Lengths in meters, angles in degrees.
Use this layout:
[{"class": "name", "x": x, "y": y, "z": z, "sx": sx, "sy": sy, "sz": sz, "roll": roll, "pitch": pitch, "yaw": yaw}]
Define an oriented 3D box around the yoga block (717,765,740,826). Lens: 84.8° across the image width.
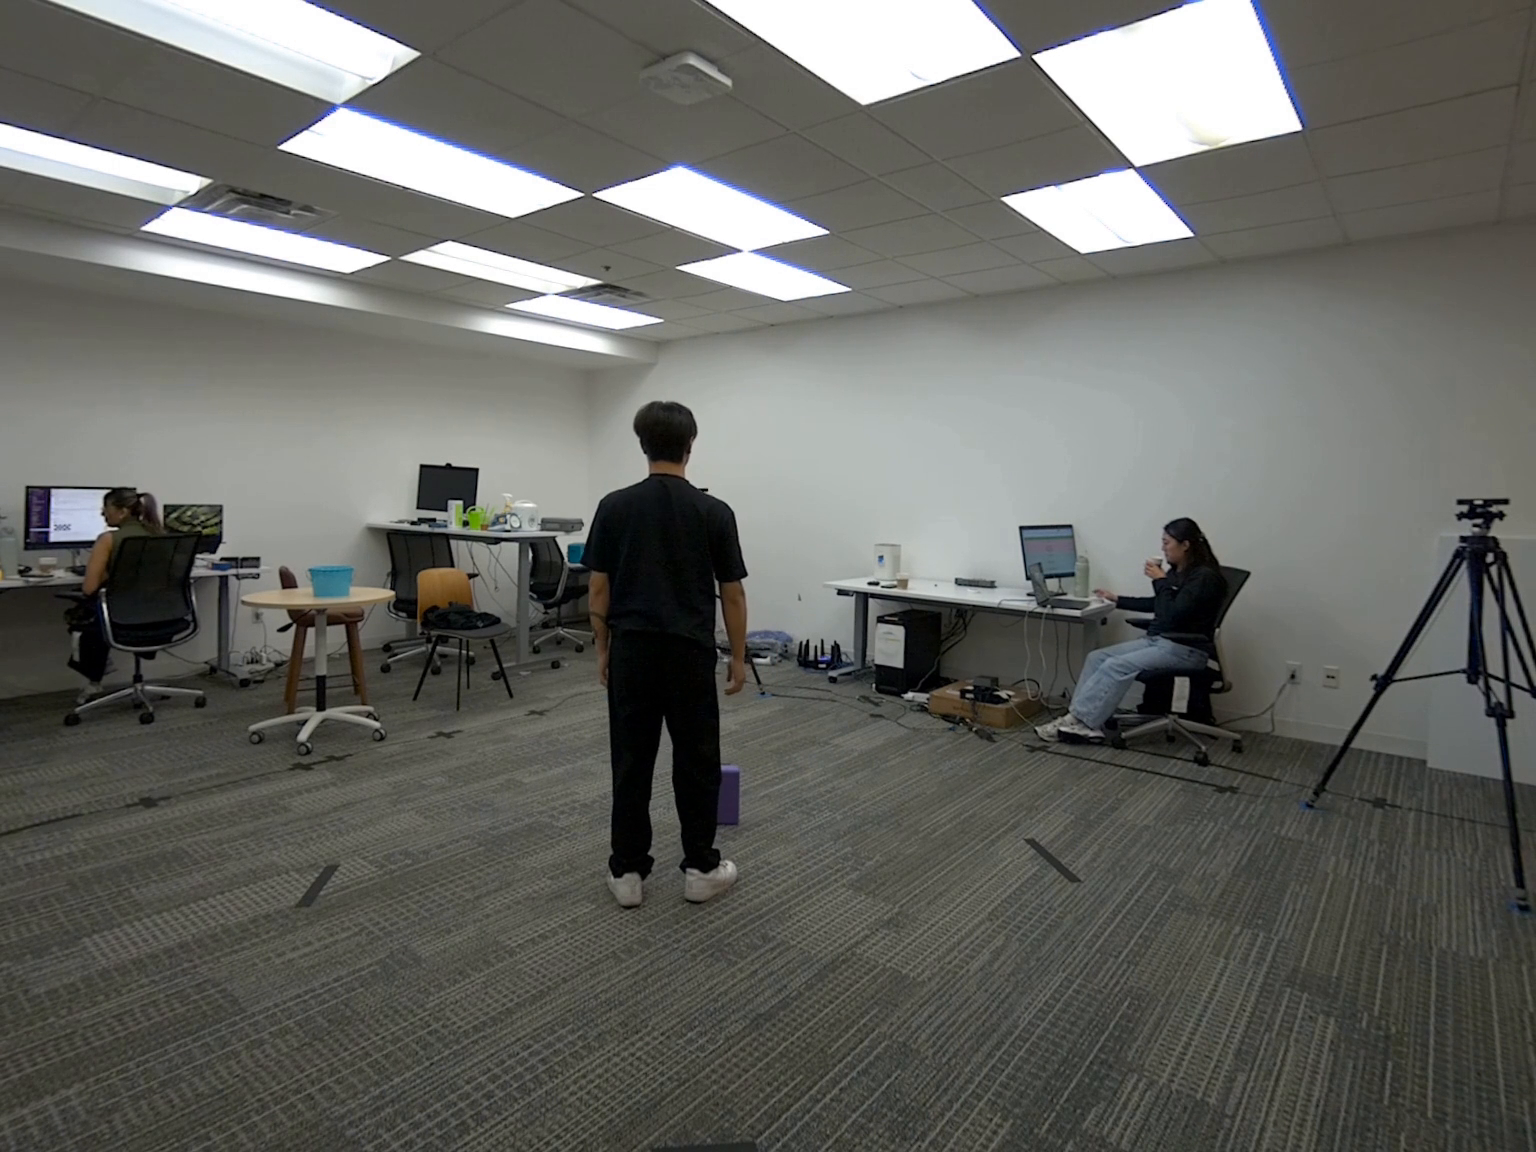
[{"class": "yoga block", "x": -0.200, "y": 0.913, "z": 3.559, "sx": 0.149, "sy": 0.229, "sz": 0.077, "roll": 0, "pitch": 3, "yaw": -1}]
